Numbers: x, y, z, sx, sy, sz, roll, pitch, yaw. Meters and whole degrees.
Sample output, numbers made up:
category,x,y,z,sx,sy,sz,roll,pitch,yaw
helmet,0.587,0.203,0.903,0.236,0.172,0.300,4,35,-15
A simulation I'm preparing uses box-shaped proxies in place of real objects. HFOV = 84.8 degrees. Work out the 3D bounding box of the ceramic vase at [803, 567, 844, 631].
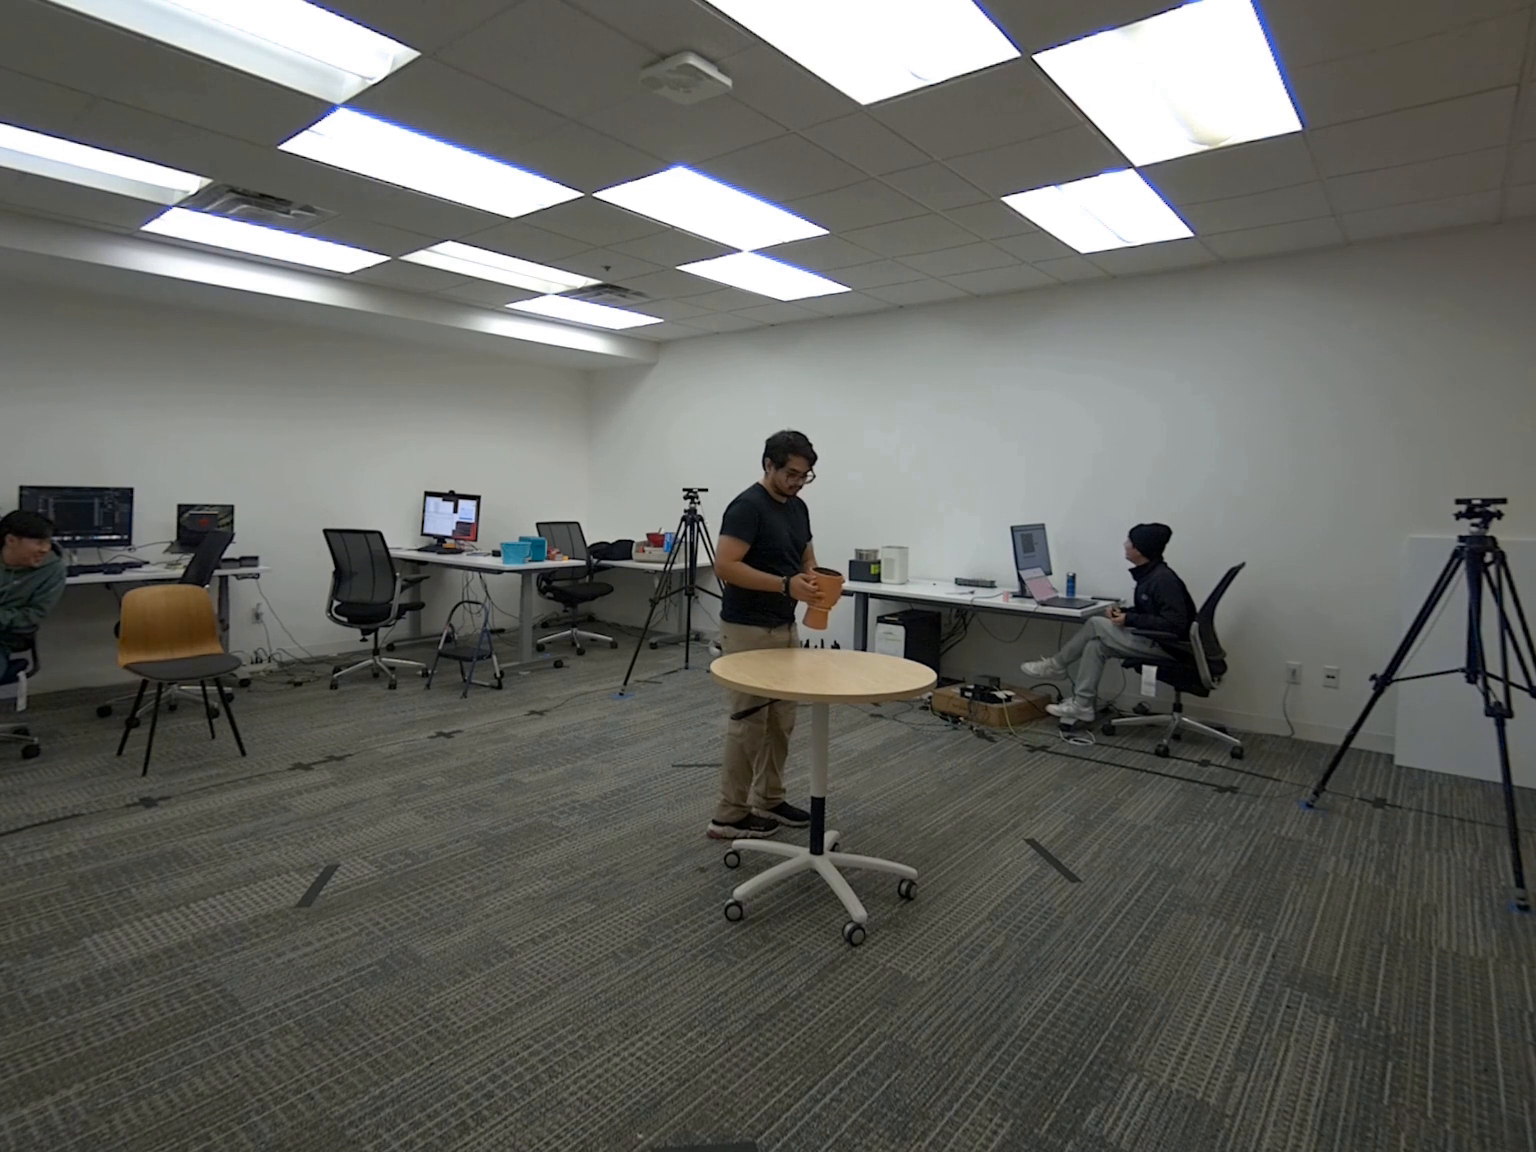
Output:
category,x,y,z,sx,sy,sz,roll,pitch,yaw
ceramic vase,0.192,0.086,3.282,0.157,0.218,0.137,9,13,-9
